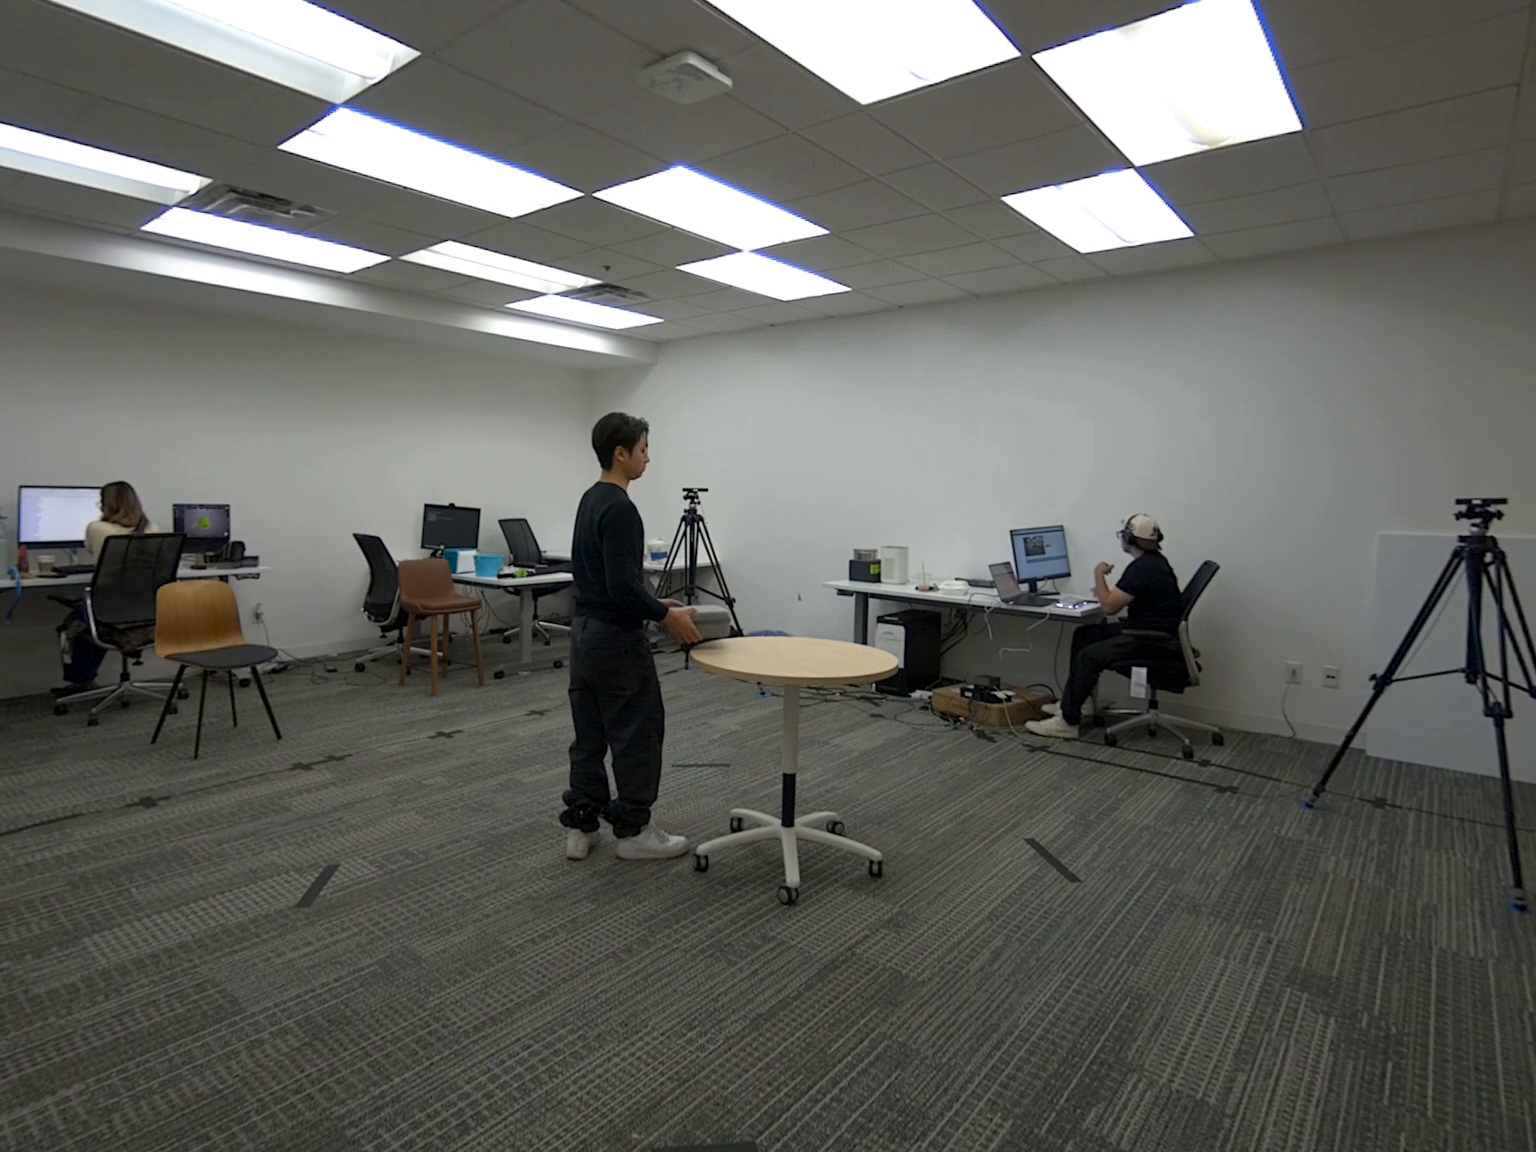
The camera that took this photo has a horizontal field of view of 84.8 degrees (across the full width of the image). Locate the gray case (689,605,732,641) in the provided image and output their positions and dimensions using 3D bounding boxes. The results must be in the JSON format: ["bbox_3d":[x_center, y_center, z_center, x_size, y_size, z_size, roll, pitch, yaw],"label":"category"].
[{"bbox_3d":[-0.305,0.172,3.291,0.258,0.104,0.261,-3,7,-11],"label":"gray case"}]
